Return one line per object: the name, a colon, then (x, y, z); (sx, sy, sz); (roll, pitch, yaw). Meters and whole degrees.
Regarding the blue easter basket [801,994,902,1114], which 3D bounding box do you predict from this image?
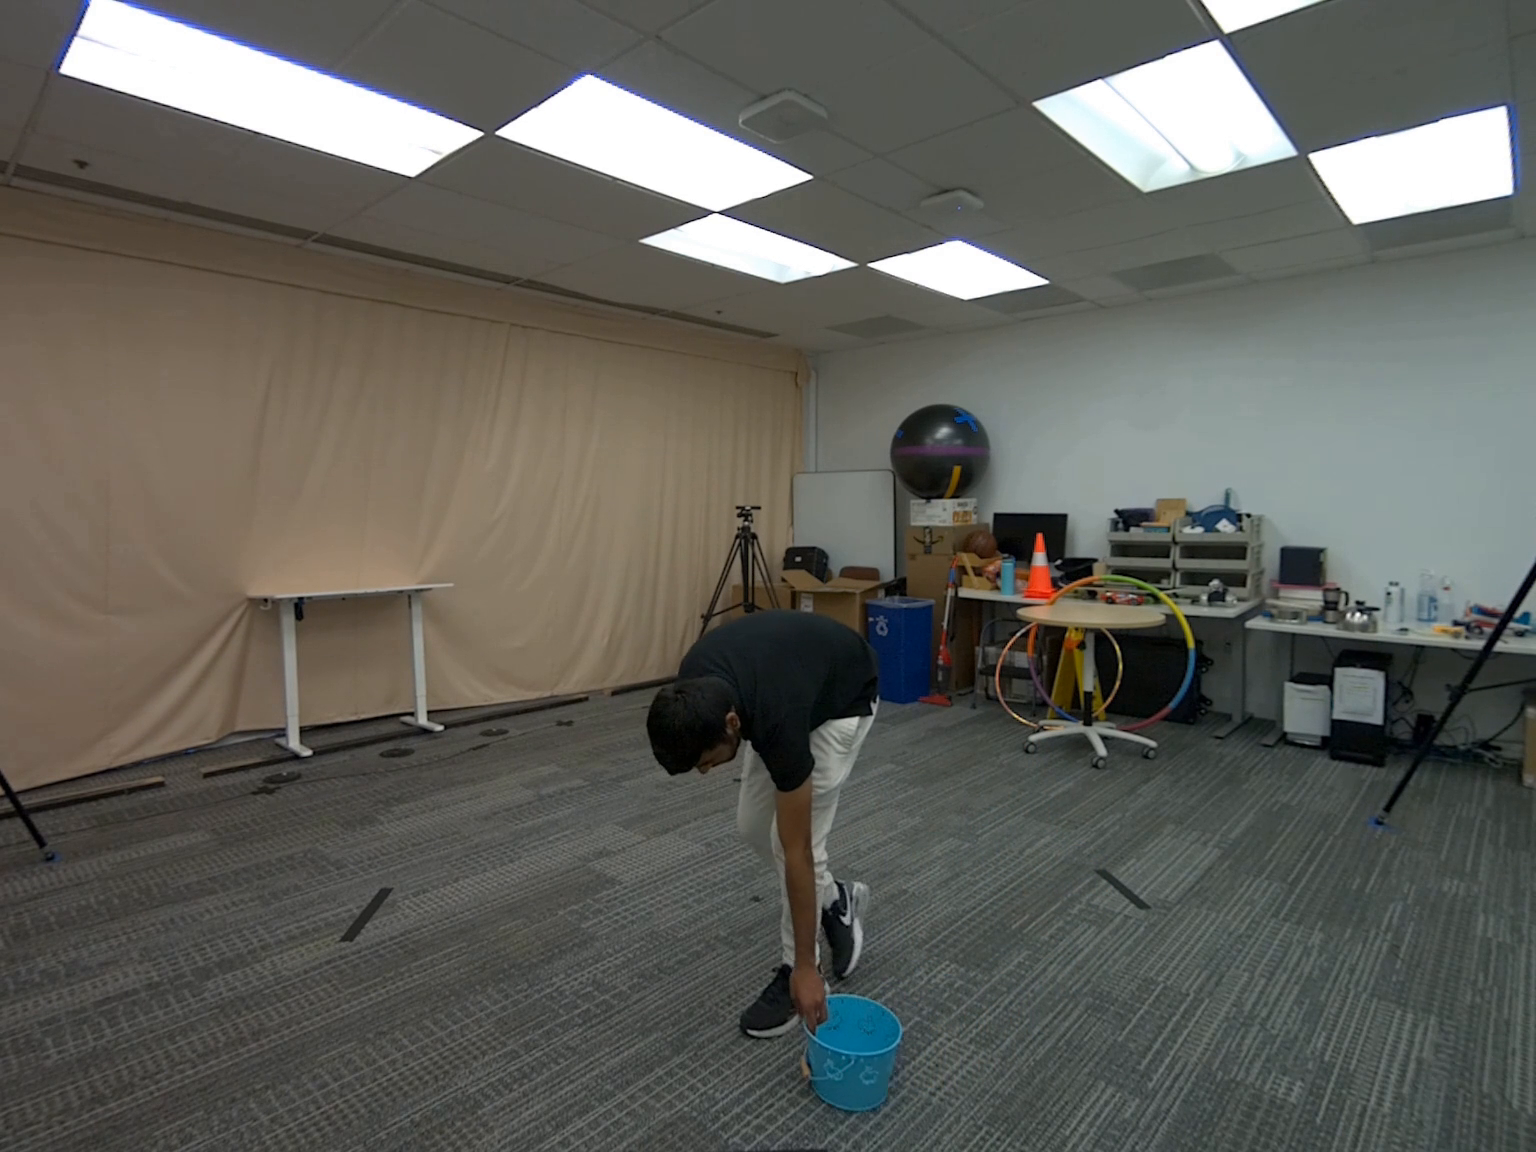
blue easter basket: (0.194, 1.140, 2.027); (0.243, 0.155, 0.244); (1, 5, -2)
